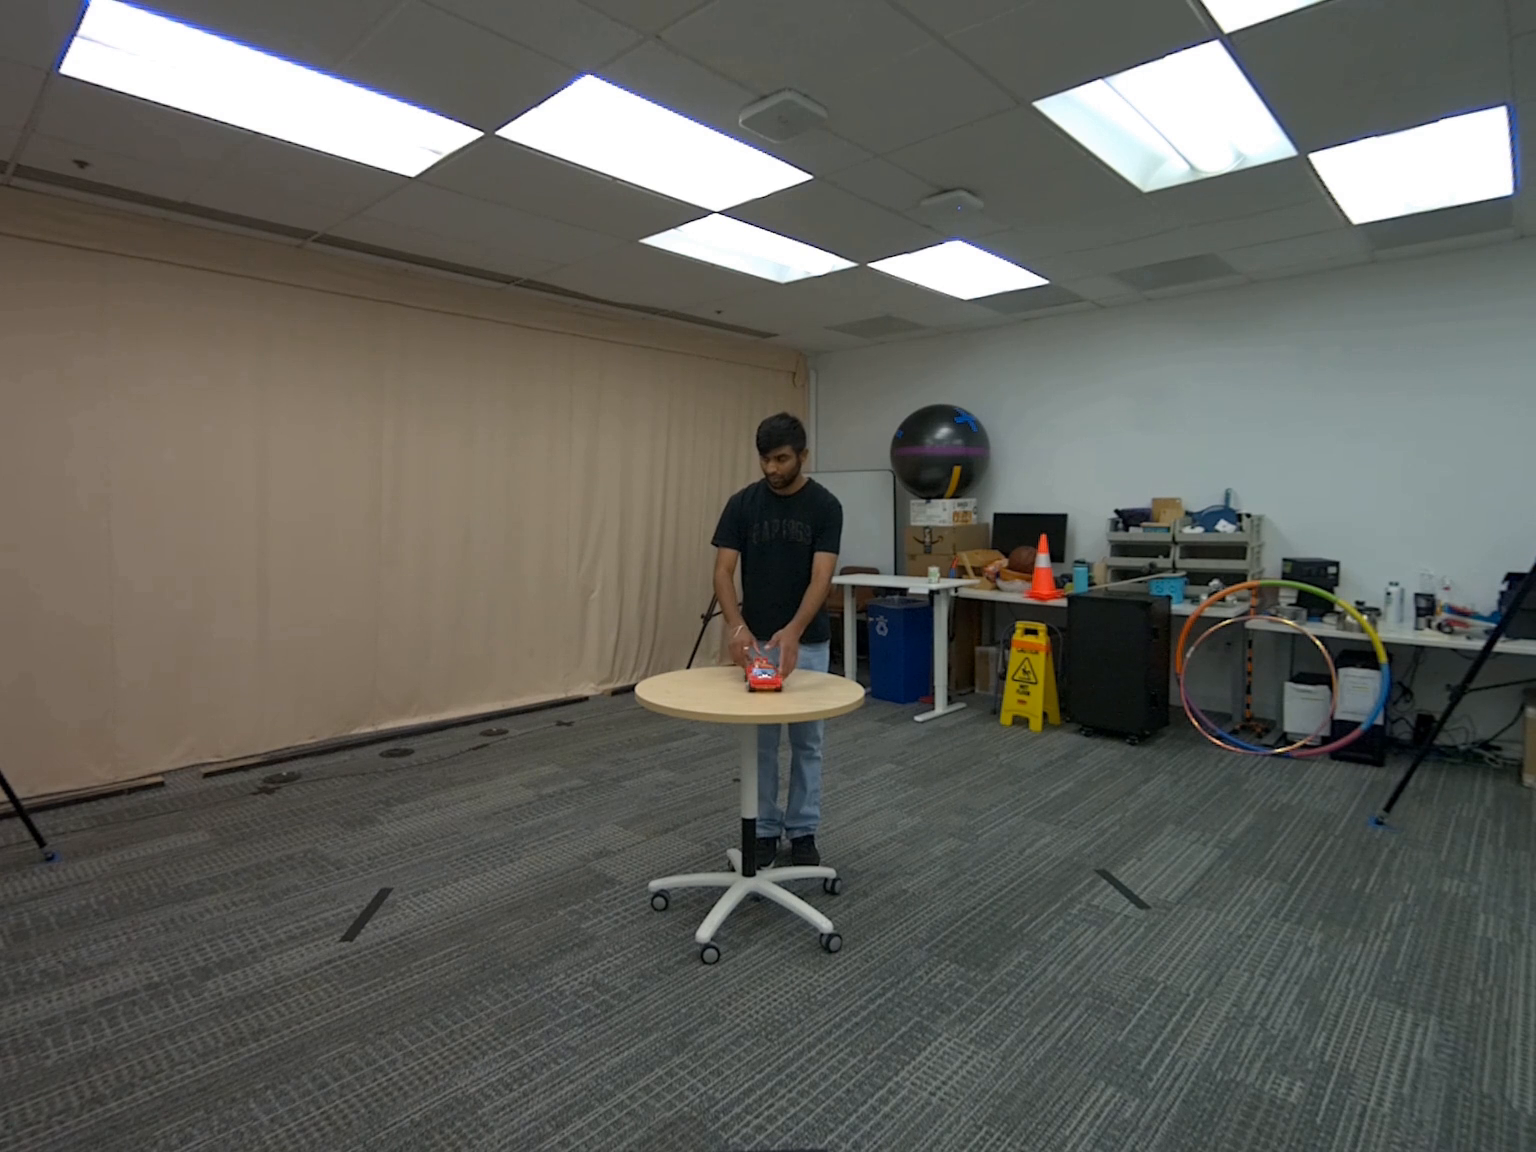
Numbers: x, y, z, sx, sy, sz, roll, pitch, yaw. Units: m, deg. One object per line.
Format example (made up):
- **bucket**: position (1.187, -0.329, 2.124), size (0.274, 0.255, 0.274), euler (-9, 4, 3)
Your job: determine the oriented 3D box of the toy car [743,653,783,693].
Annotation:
- **toy car**: position (-0.018, 0.338, 2.859), size (0.130, 0.082, 0.257), euler (0, 15, -3)
